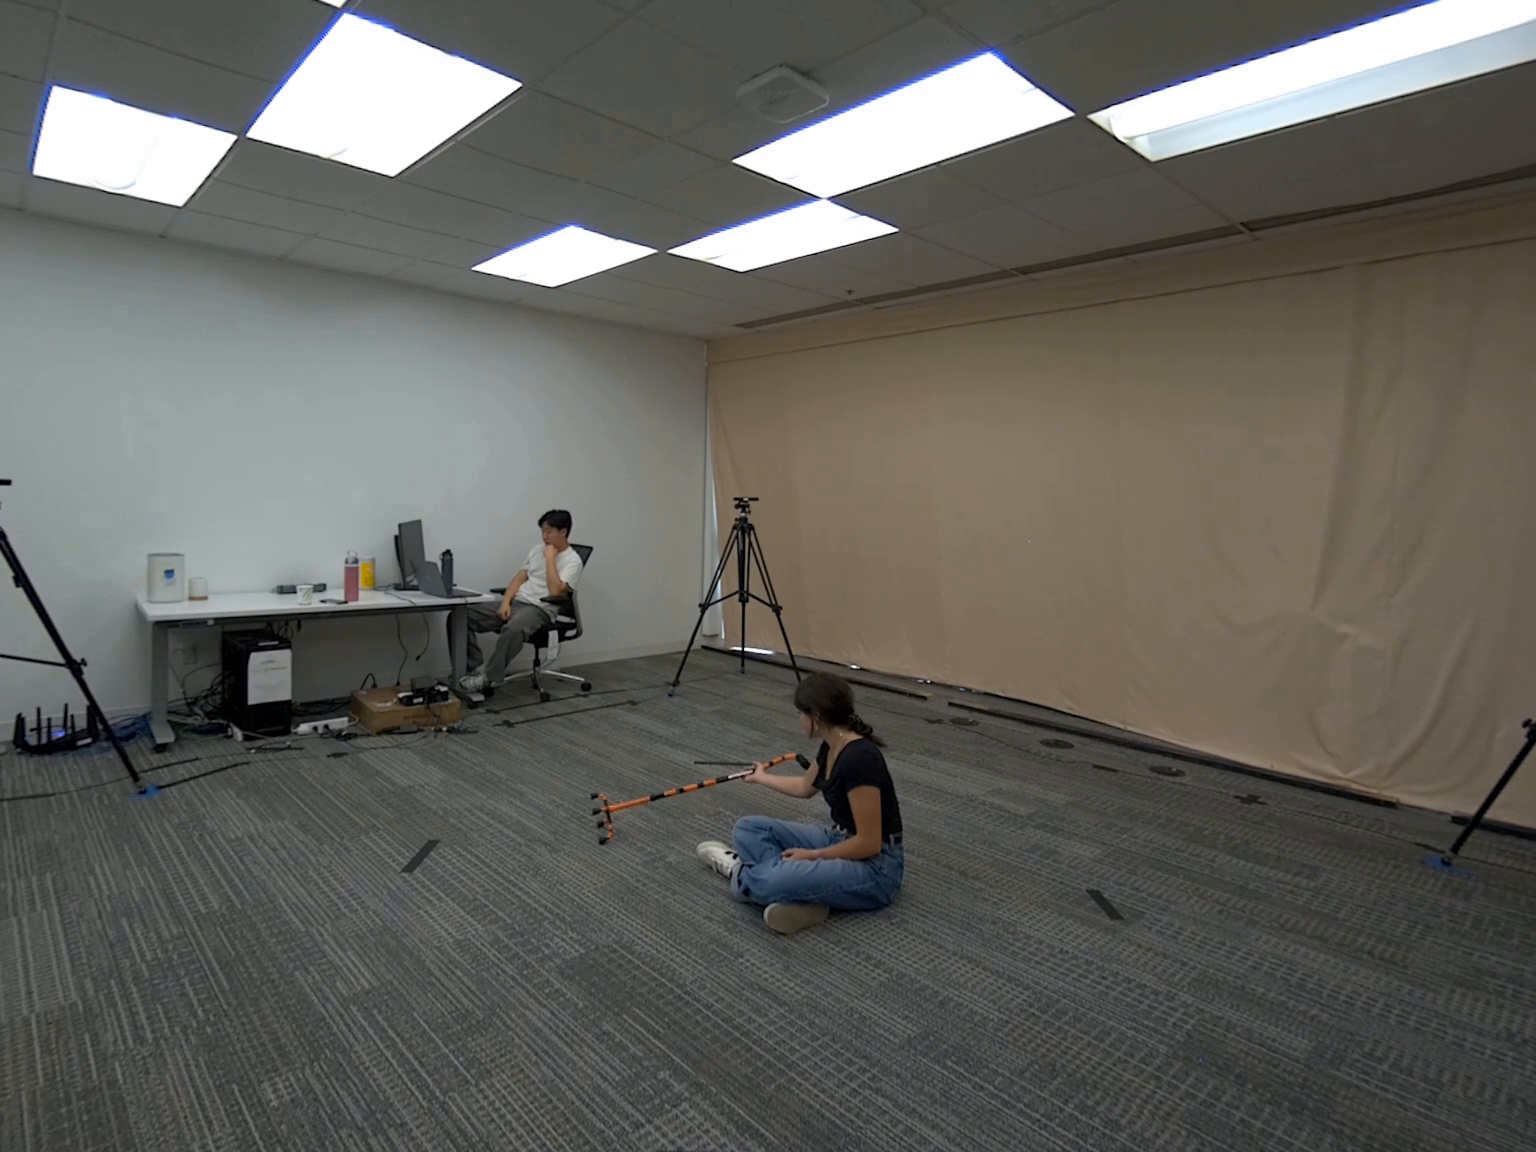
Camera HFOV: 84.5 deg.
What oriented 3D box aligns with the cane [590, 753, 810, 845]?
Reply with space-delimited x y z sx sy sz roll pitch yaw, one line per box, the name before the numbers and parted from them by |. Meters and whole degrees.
cane | -0.290 0.884 3.520 0.902 0.151 0.209 -14 6 -10
